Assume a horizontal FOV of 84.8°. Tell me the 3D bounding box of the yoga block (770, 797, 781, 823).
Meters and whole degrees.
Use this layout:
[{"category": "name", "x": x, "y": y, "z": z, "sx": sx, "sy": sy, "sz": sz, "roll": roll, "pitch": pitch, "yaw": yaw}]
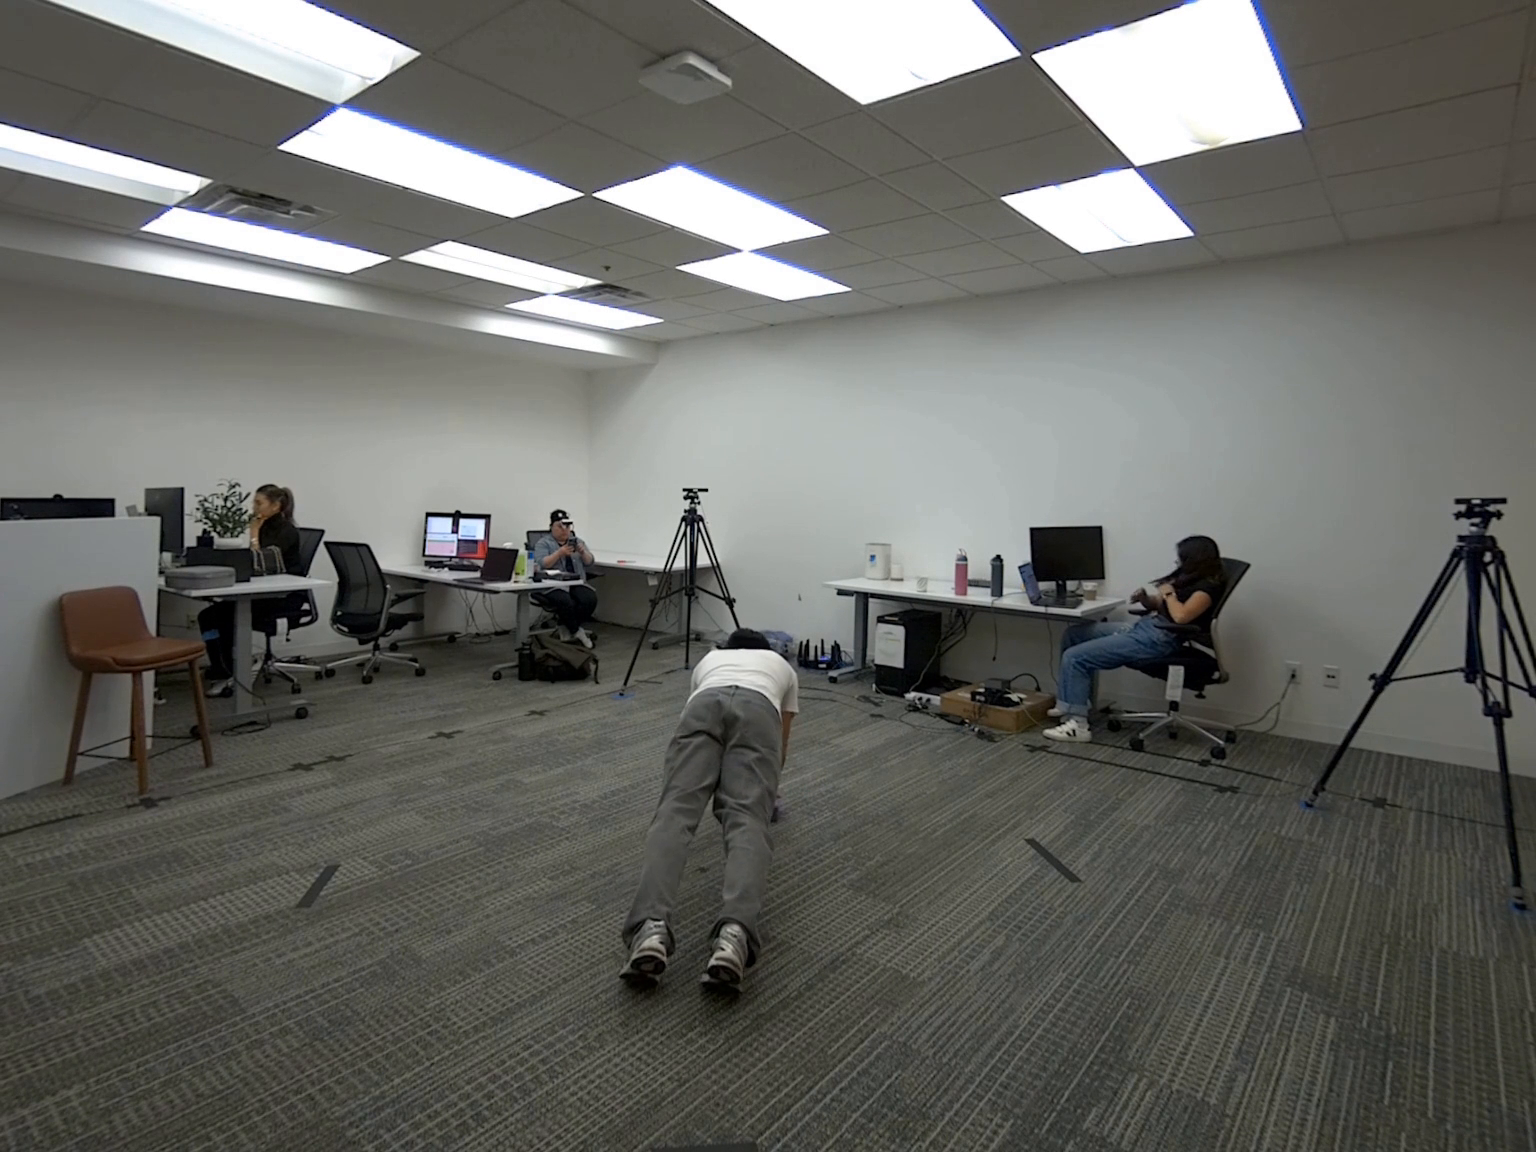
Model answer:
[{"category": "yoga block", "x": -0.057, "y": 0.969, "z": 3.646, "sx": 0.231, "sy": 0.076, "sz": 0.148, "roll": 1, "pitch": 3, "yaw": 6}]
